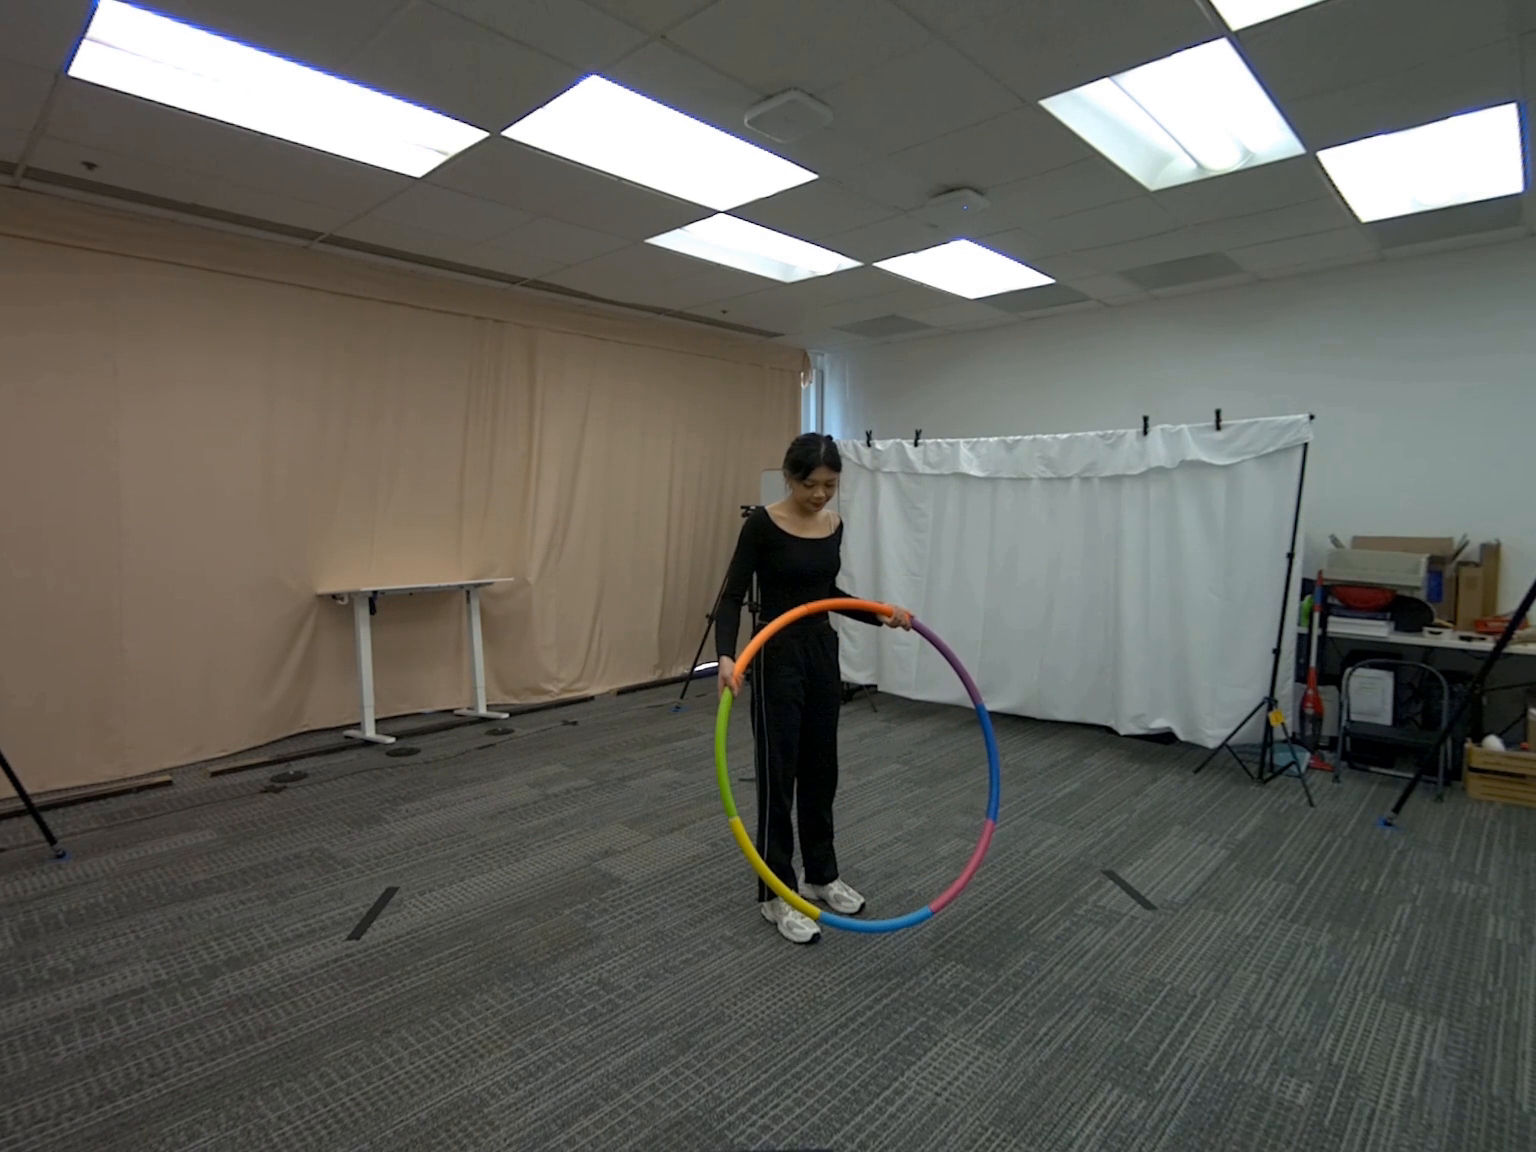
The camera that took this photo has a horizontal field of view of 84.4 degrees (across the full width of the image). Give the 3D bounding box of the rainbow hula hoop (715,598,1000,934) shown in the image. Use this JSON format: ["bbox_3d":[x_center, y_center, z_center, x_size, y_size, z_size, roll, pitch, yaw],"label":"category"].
[{"bbox_3d":[0.315,0.560,2.578,0.958,0.990,0.036,-2,-17,-21],"label":"rainbow hula hoop"}]
